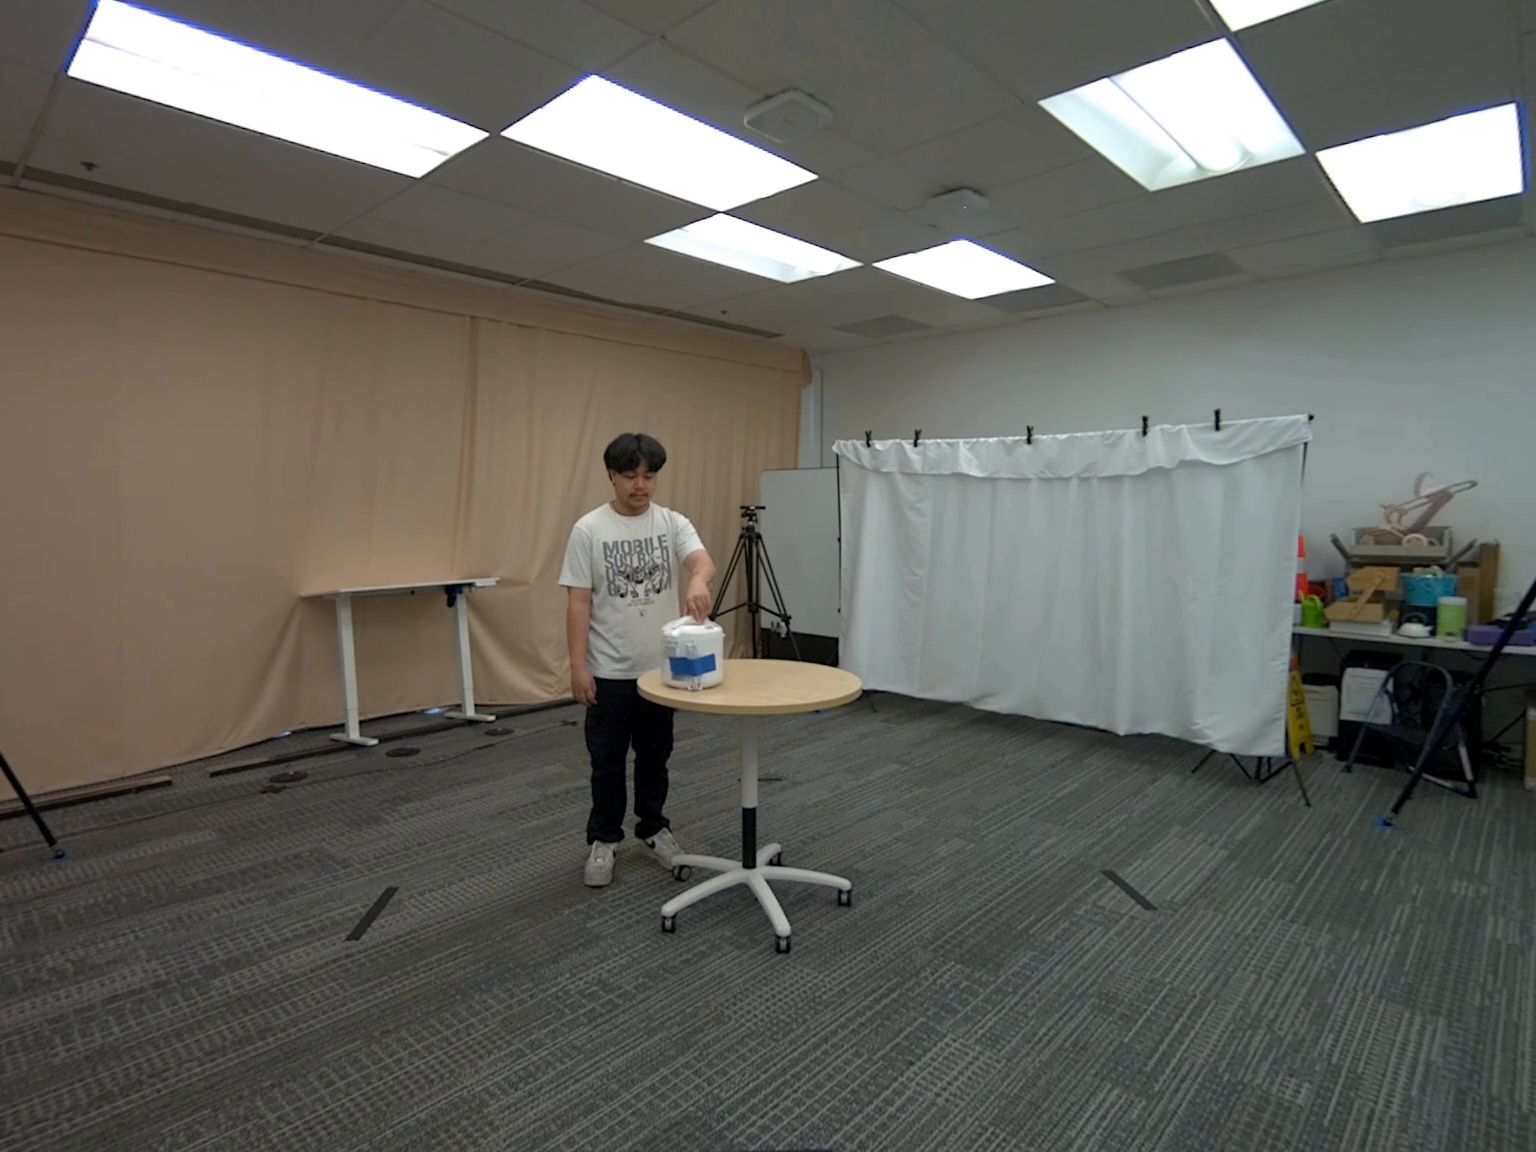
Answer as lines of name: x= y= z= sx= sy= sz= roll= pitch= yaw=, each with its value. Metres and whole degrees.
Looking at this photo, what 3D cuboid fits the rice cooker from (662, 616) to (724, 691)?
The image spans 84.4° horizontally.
rice cooker: x=-0.253 y=0.247 z=2.800 sx=0.225 sy=0.232 sz=0.214 roll=5 pitch=5 yaw=39
